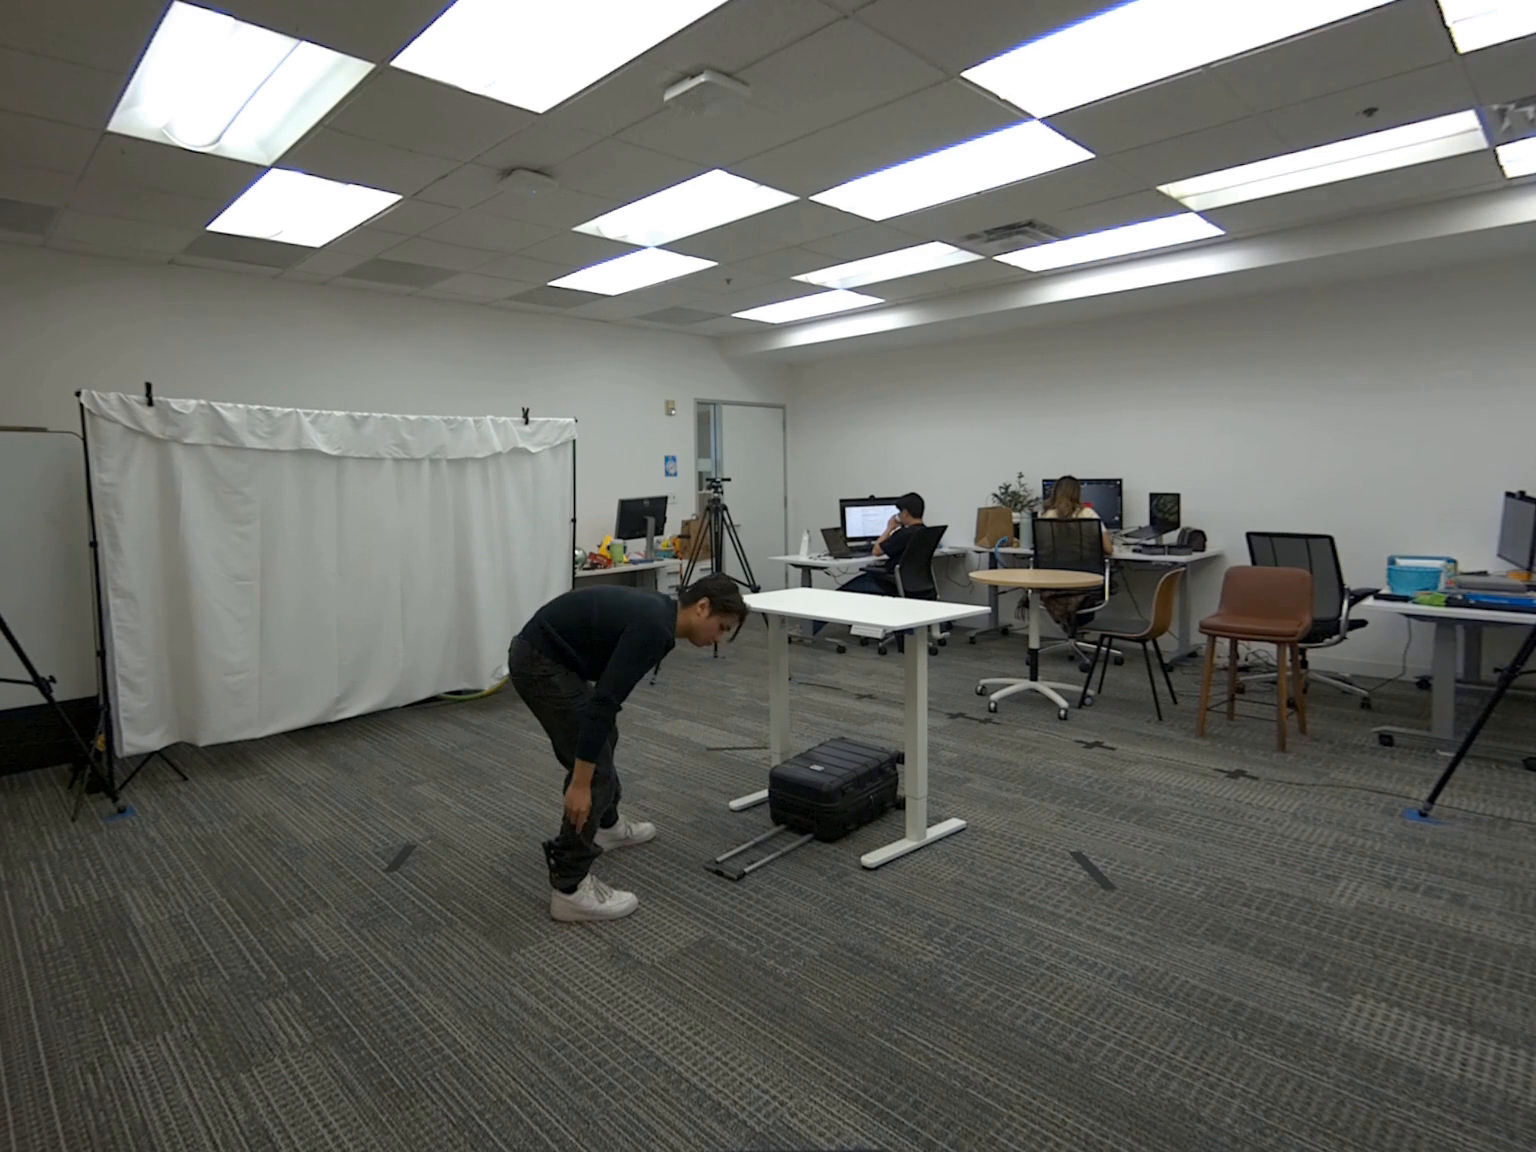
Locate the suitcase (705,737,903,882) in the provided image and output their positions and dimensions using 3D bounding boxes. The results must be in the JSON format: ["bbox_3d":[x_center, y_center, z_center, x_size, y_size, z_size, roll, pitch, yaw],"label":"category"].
[{"bbox_3d":[0.144,0.883,3.359,0.396,0.256,0.953,5,9,42],"label":"suitcase"}]
